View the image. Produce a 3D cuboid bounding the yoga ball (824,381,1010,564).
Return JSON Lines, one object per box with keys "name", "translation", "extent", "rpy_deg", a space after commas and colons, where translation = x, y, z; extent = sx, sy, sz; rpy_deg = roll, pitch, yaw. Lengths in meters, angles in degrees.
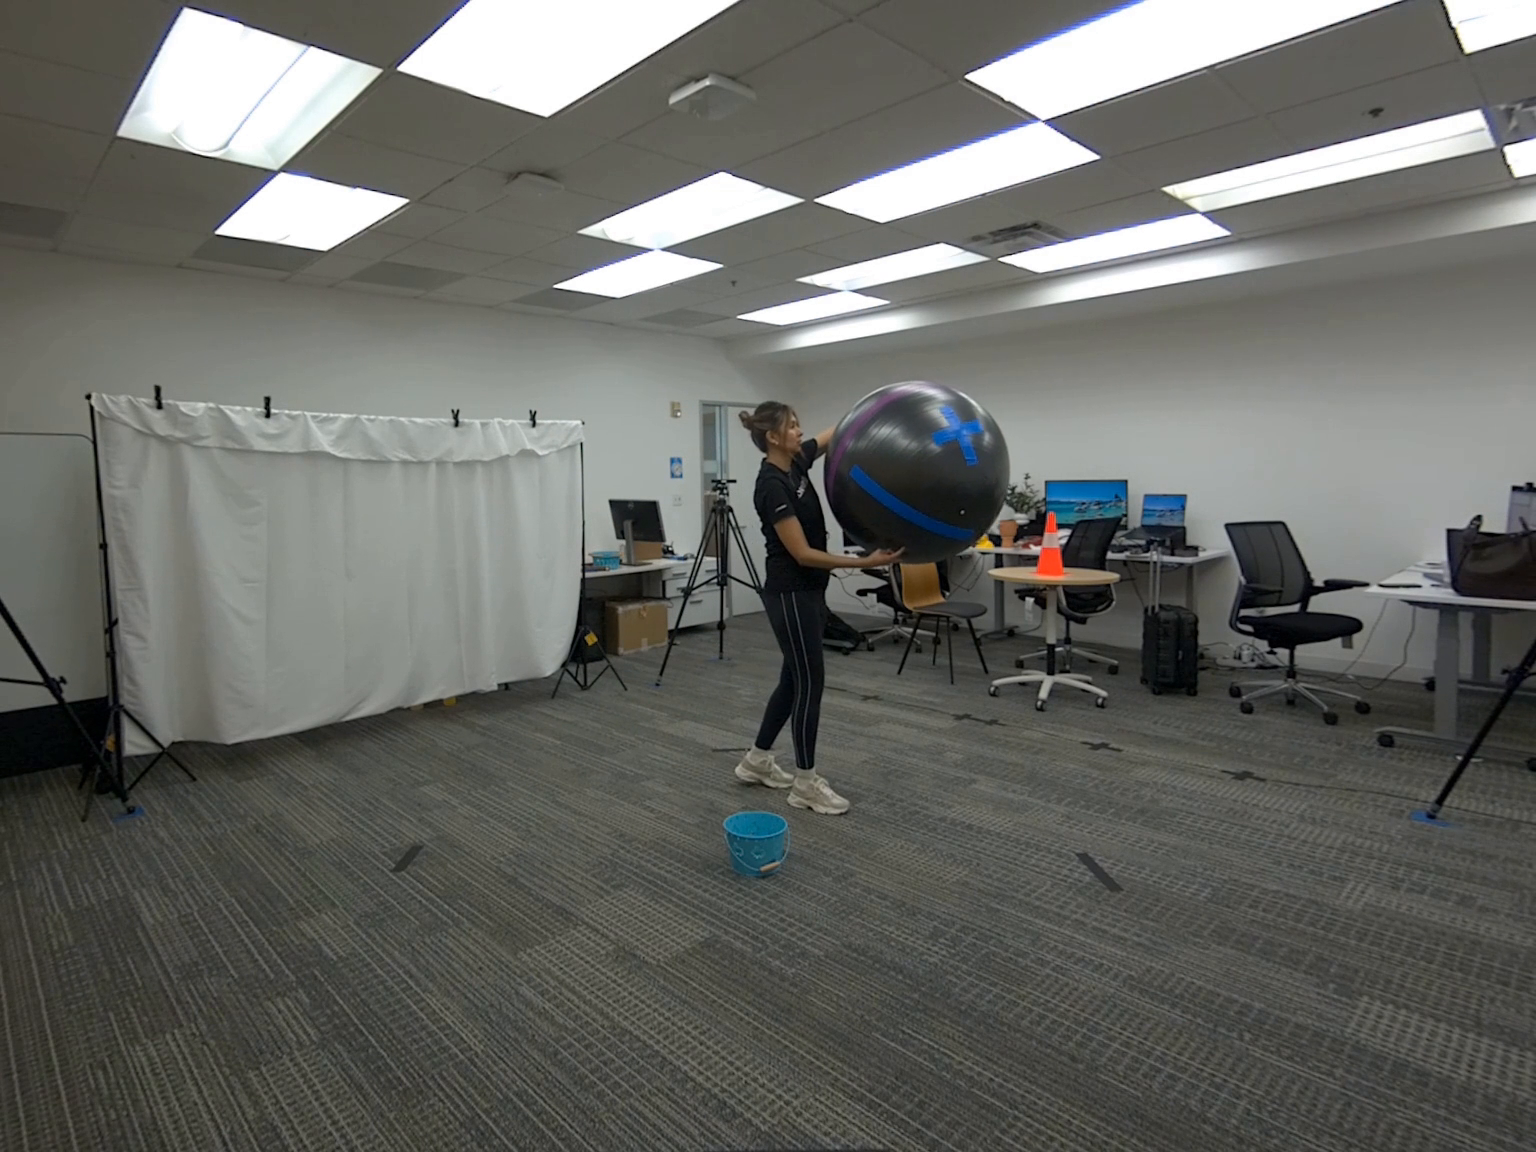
{"name": "yoga ball", "translation": [0.612, -0.430, 3.569], "extent": [0.757, 0.755, 0.762], "rpy_deg": [-1, 5, -2]}
